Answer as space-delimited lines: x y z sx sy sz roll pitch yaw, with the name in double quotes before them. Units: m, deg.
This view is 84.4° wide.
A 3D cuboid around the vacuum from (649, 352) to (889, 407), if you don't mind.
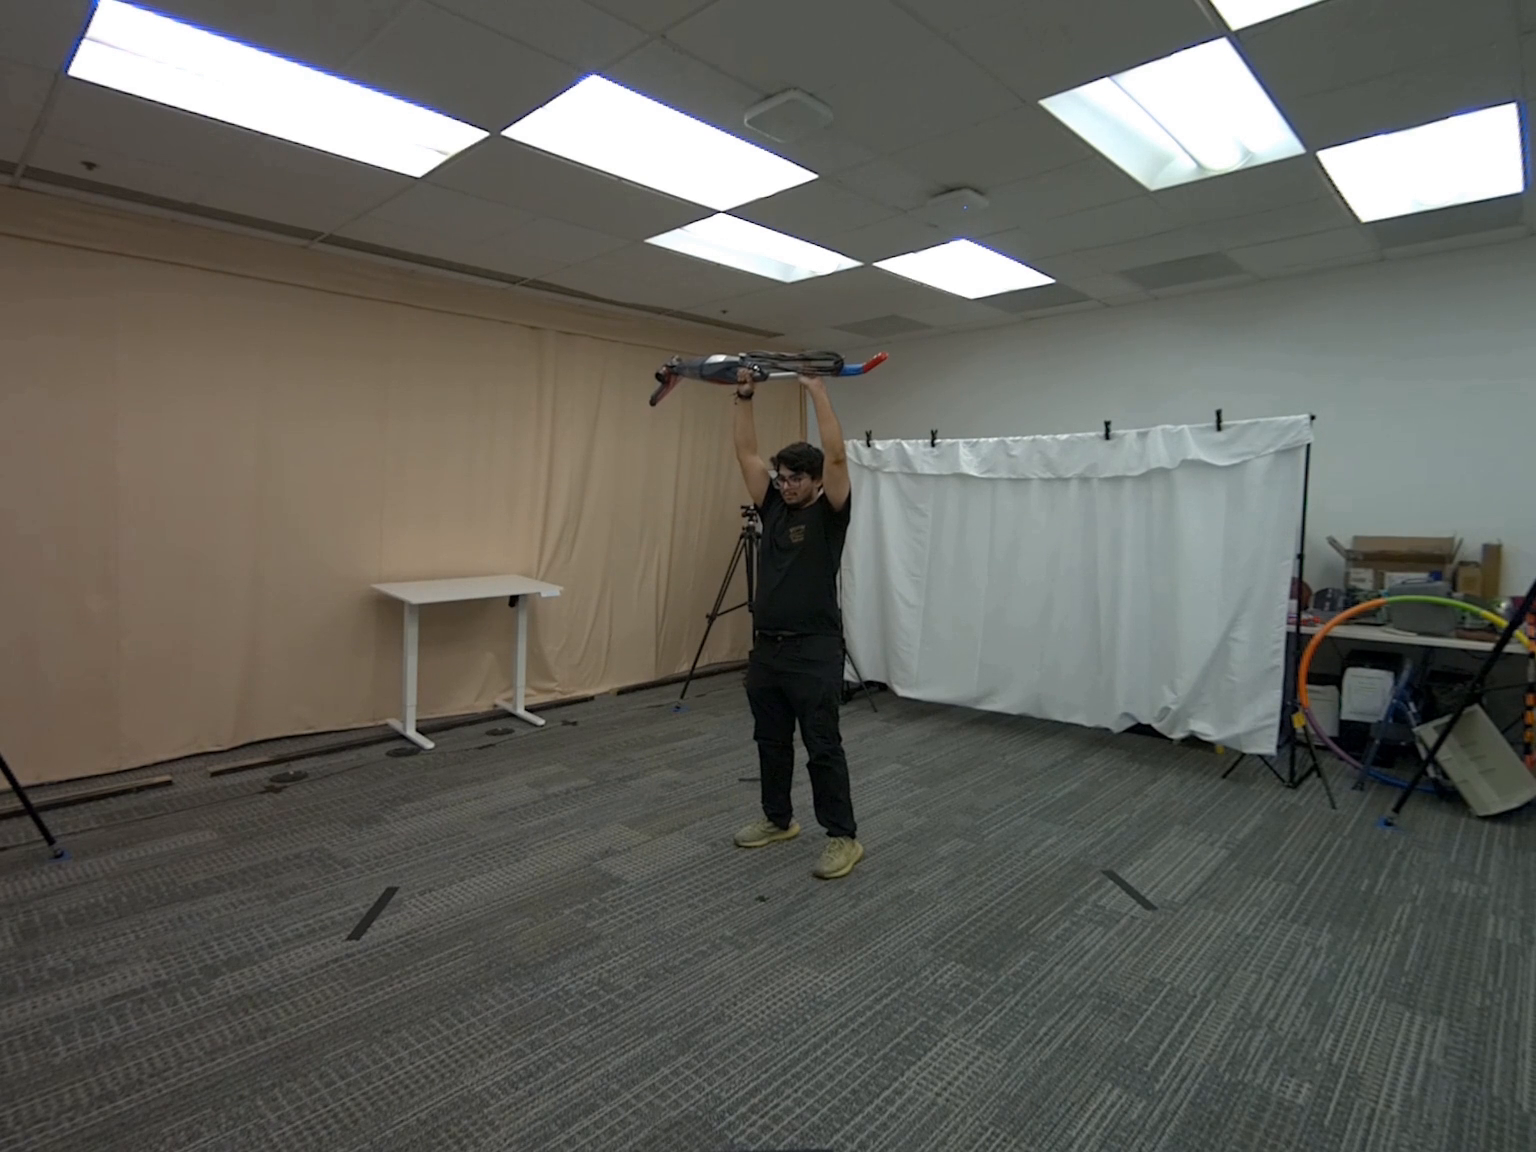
"vacuum" -0.017 -0.795 3.182 1.084 0.140 0.250 5 39 40
